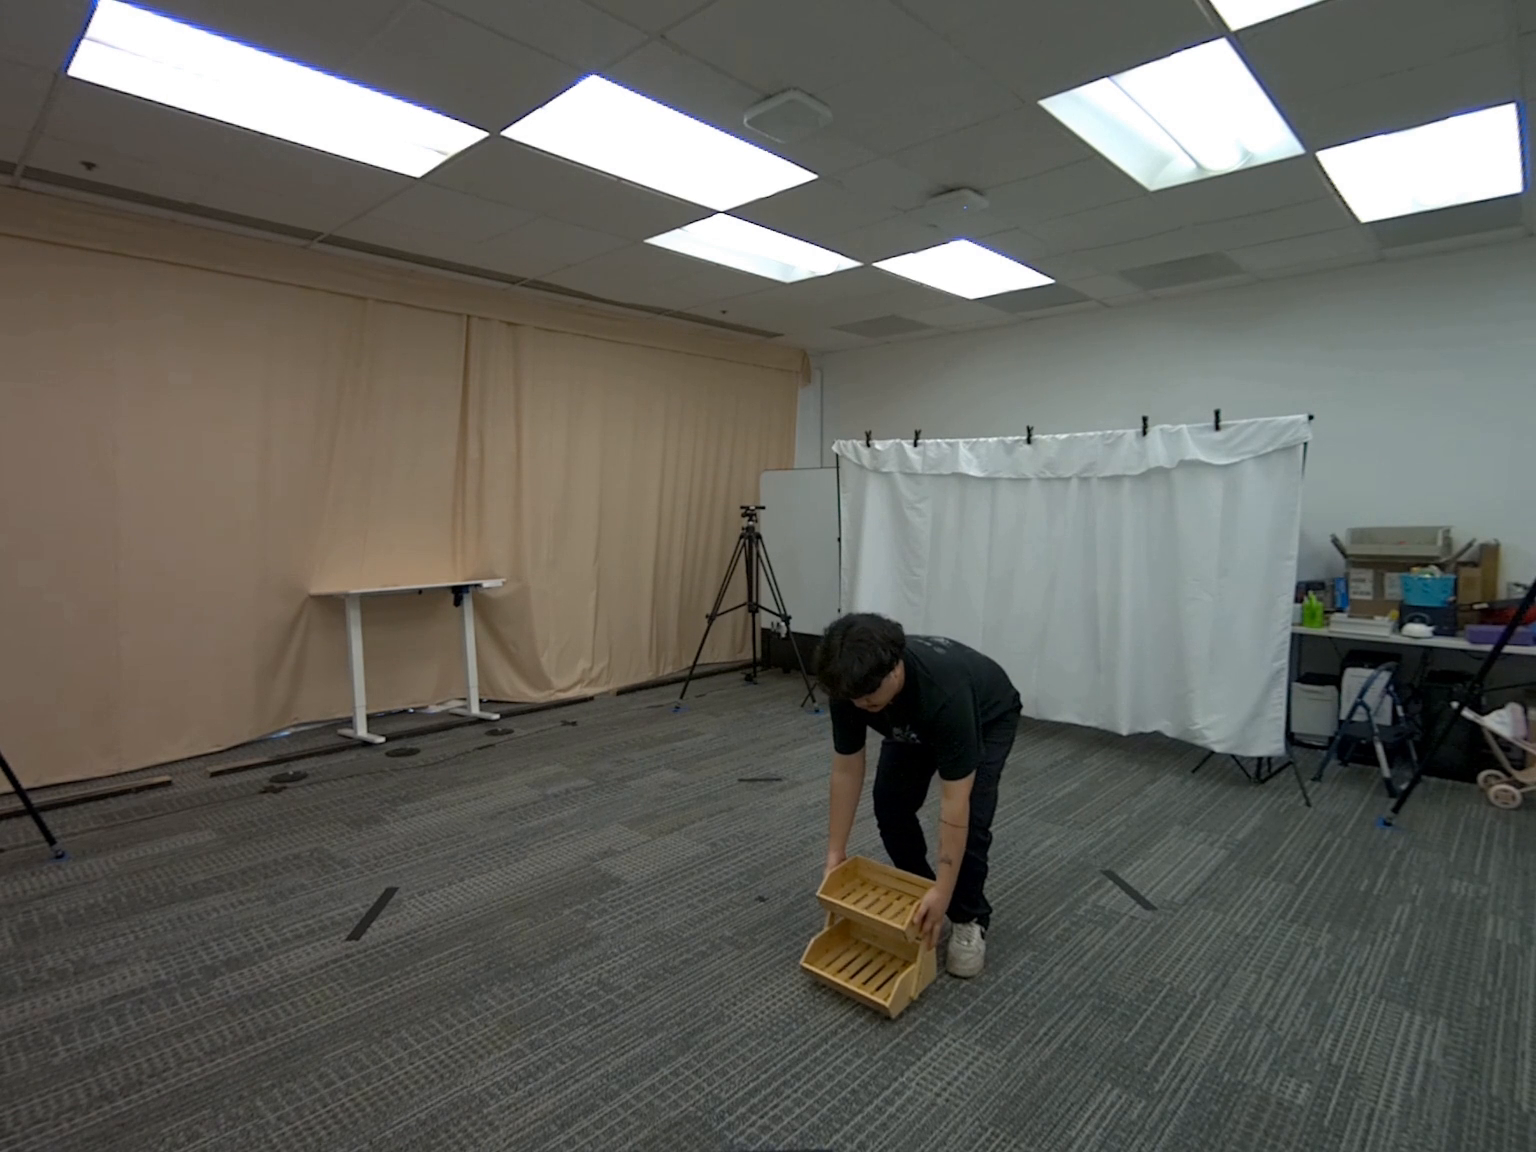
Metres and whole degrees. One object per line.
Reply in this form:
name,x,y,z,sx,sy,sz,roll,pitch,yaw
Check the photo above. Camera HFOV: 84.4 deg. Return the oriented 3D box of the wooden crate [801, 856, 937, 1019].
wooden crate,0.299,1.014,2.433,0.335,0.272,0.293,3,9,42
